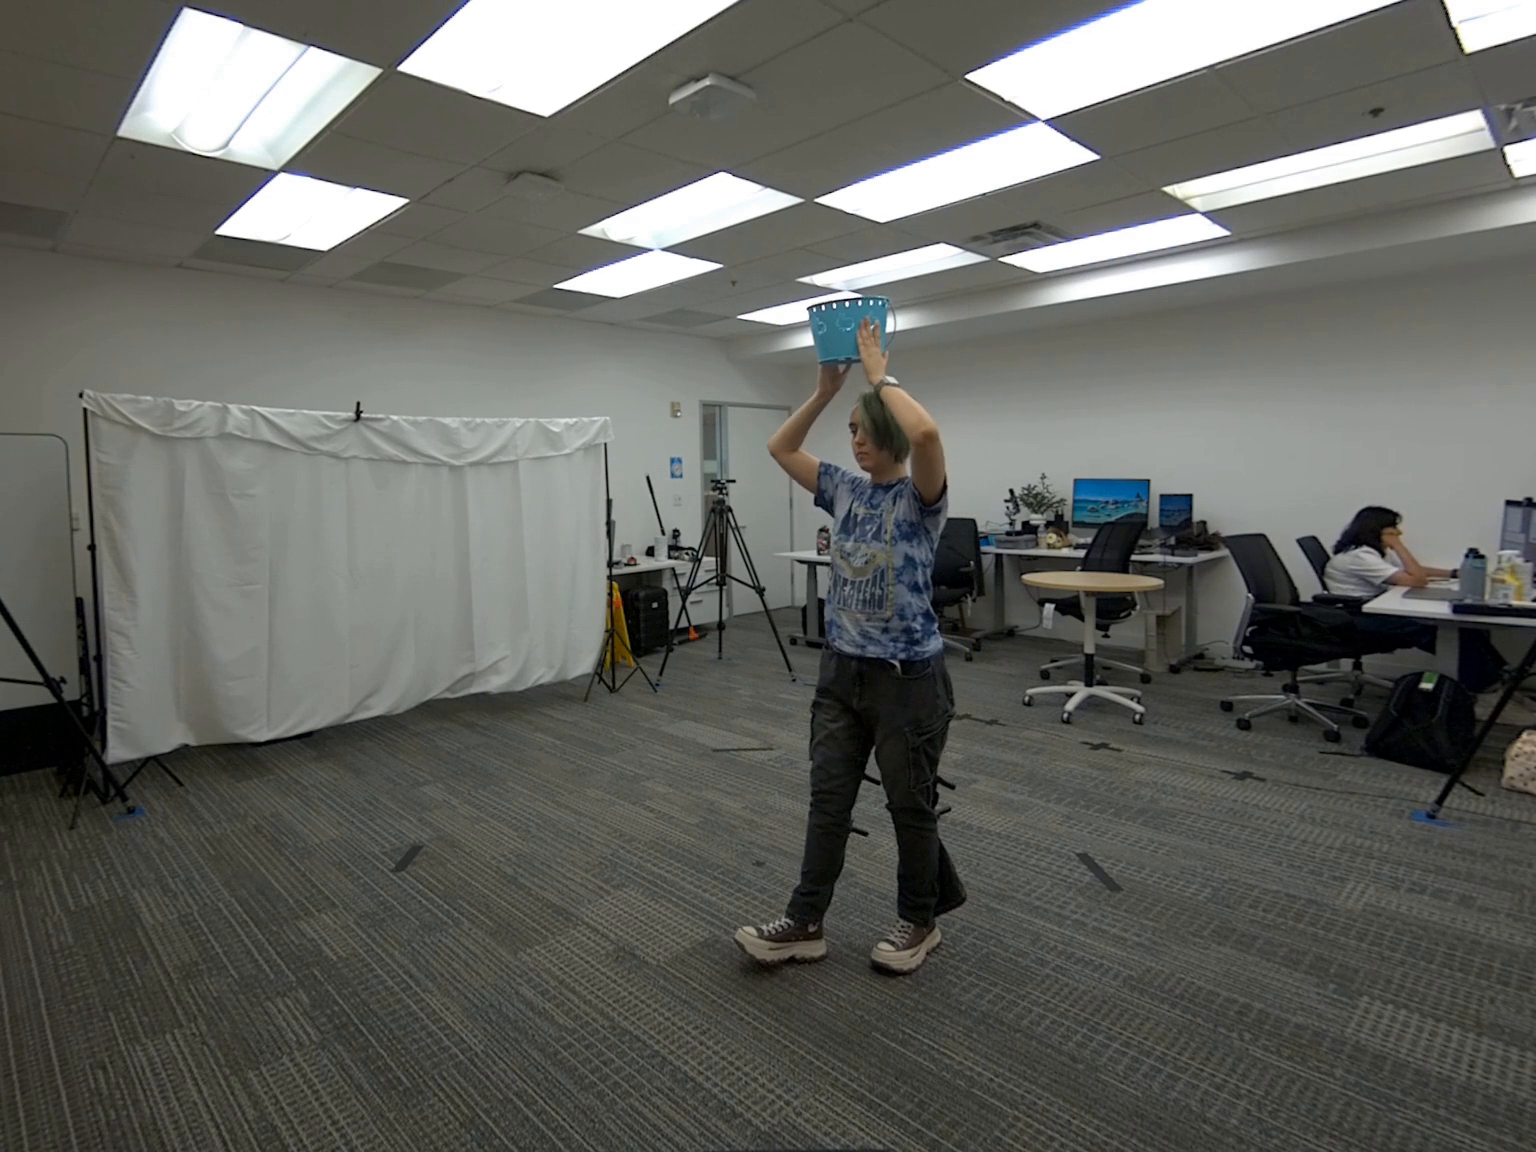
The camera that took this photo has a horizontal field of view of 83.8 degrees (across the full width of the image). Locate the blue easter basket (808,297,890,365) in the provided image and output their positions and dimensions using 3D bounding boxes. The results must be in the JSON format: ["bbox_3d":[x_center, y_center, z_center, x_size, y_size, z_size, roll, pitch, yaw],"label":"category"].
[{"bbox_3d":[0.243,-0.673,2.333,0.243,0.154,0.246,-5,9,-1],"label":"blue easter basket"}]
